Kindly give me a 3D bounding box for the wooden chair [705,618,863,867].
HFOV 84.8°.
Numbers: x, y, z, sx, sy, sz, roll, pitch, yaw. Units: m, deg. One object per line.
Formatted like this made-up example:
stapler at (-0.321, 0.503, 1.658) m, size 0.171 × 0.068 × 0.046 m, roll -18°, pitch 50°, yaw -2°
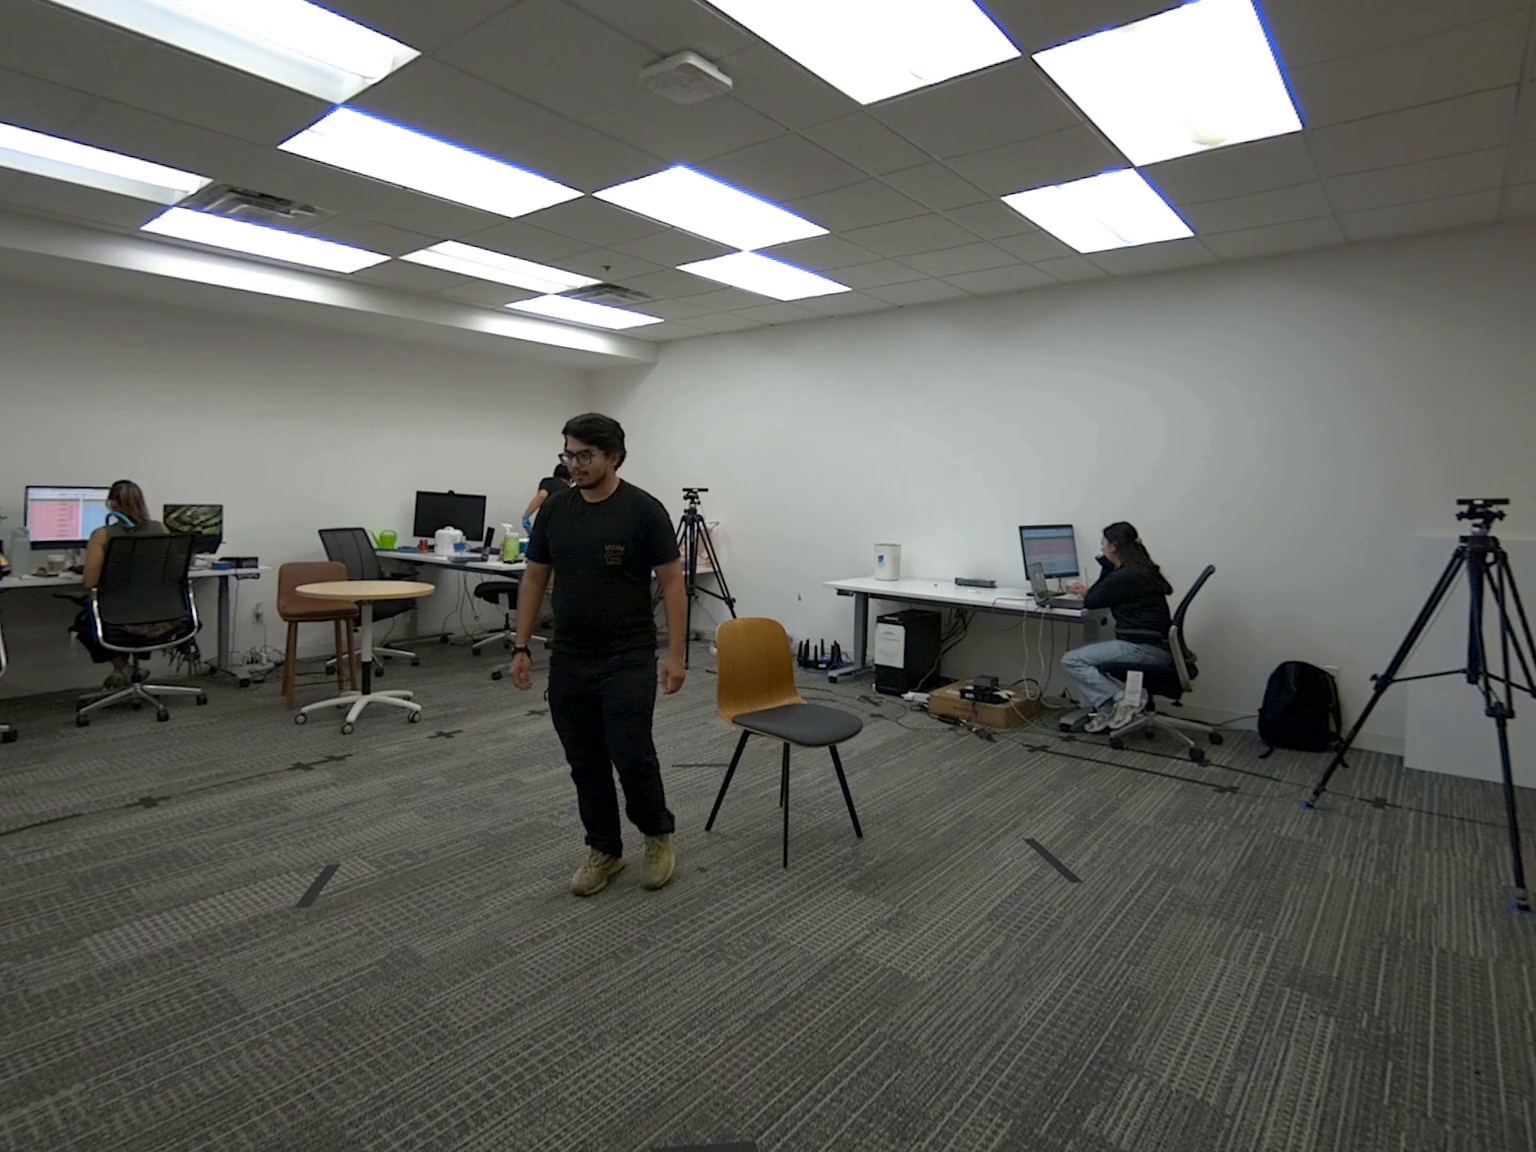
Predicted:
wooden chair at (0.069, 0.617, 3.415) m, size 0.463 × 0.878 × 0.539 m, roll -2°, pitch 0°, yaw -44°
